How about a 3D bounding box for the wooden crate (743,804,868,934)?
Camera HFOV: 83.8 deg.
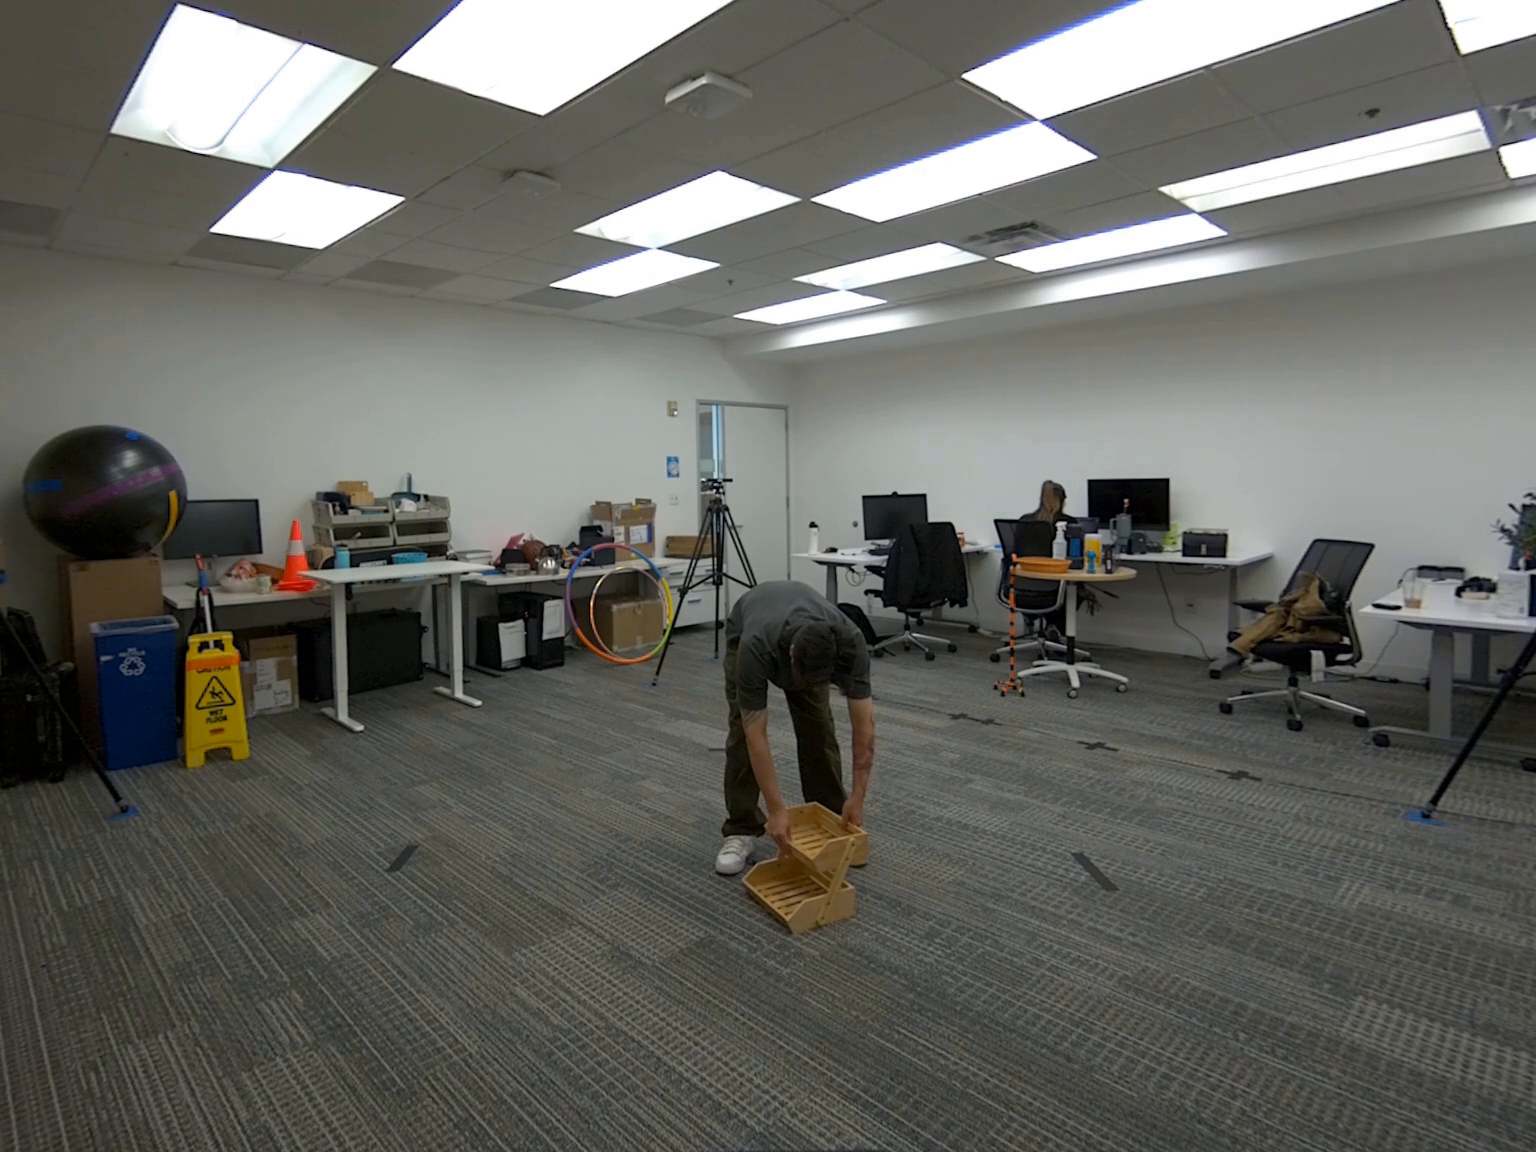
[{"bbox_3d":[0.119,0.944,2.799,0.295,0.272,0.333,-3,6,-29],"label":"wooden crate"}]
